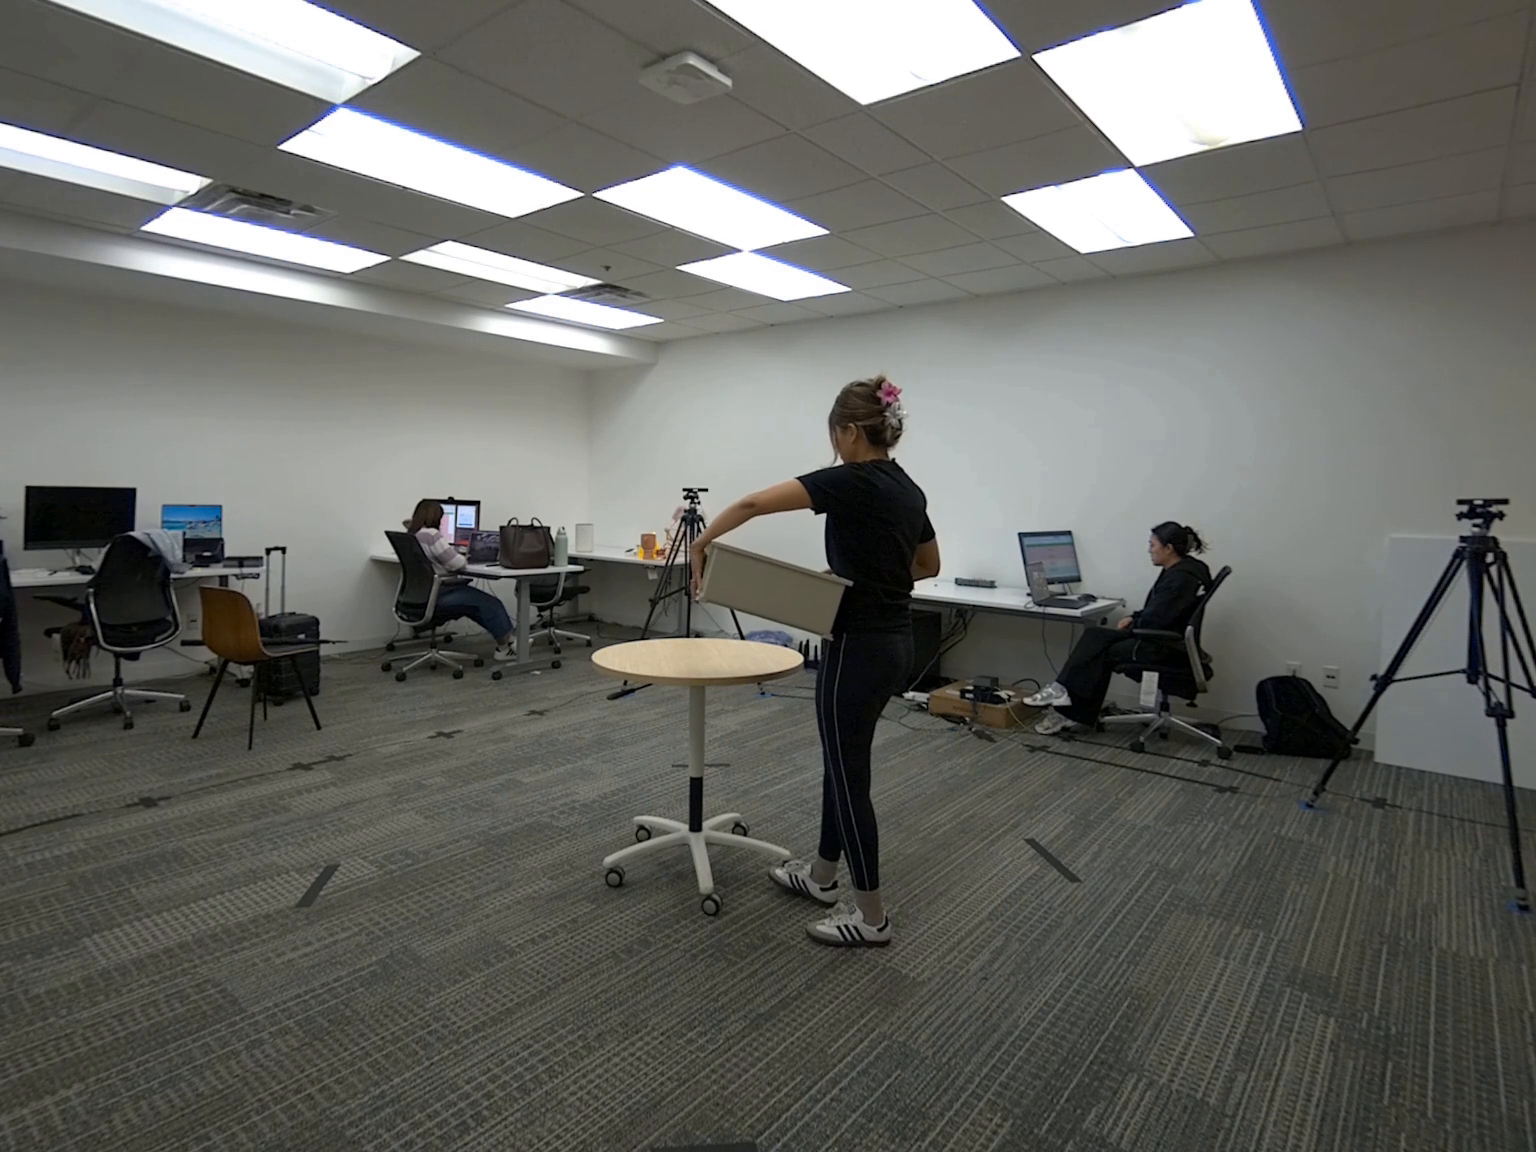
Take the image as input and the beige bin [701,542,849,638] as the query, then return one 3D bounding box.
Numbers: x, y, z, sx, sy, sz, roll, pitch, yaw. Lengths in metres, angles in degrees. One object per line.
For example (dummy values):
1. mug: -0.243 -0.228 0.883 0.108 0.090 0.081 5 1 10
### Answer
1. beige bin: -0.008 0.026 2.616 0.422 0.188 0.379 17 5 -1
